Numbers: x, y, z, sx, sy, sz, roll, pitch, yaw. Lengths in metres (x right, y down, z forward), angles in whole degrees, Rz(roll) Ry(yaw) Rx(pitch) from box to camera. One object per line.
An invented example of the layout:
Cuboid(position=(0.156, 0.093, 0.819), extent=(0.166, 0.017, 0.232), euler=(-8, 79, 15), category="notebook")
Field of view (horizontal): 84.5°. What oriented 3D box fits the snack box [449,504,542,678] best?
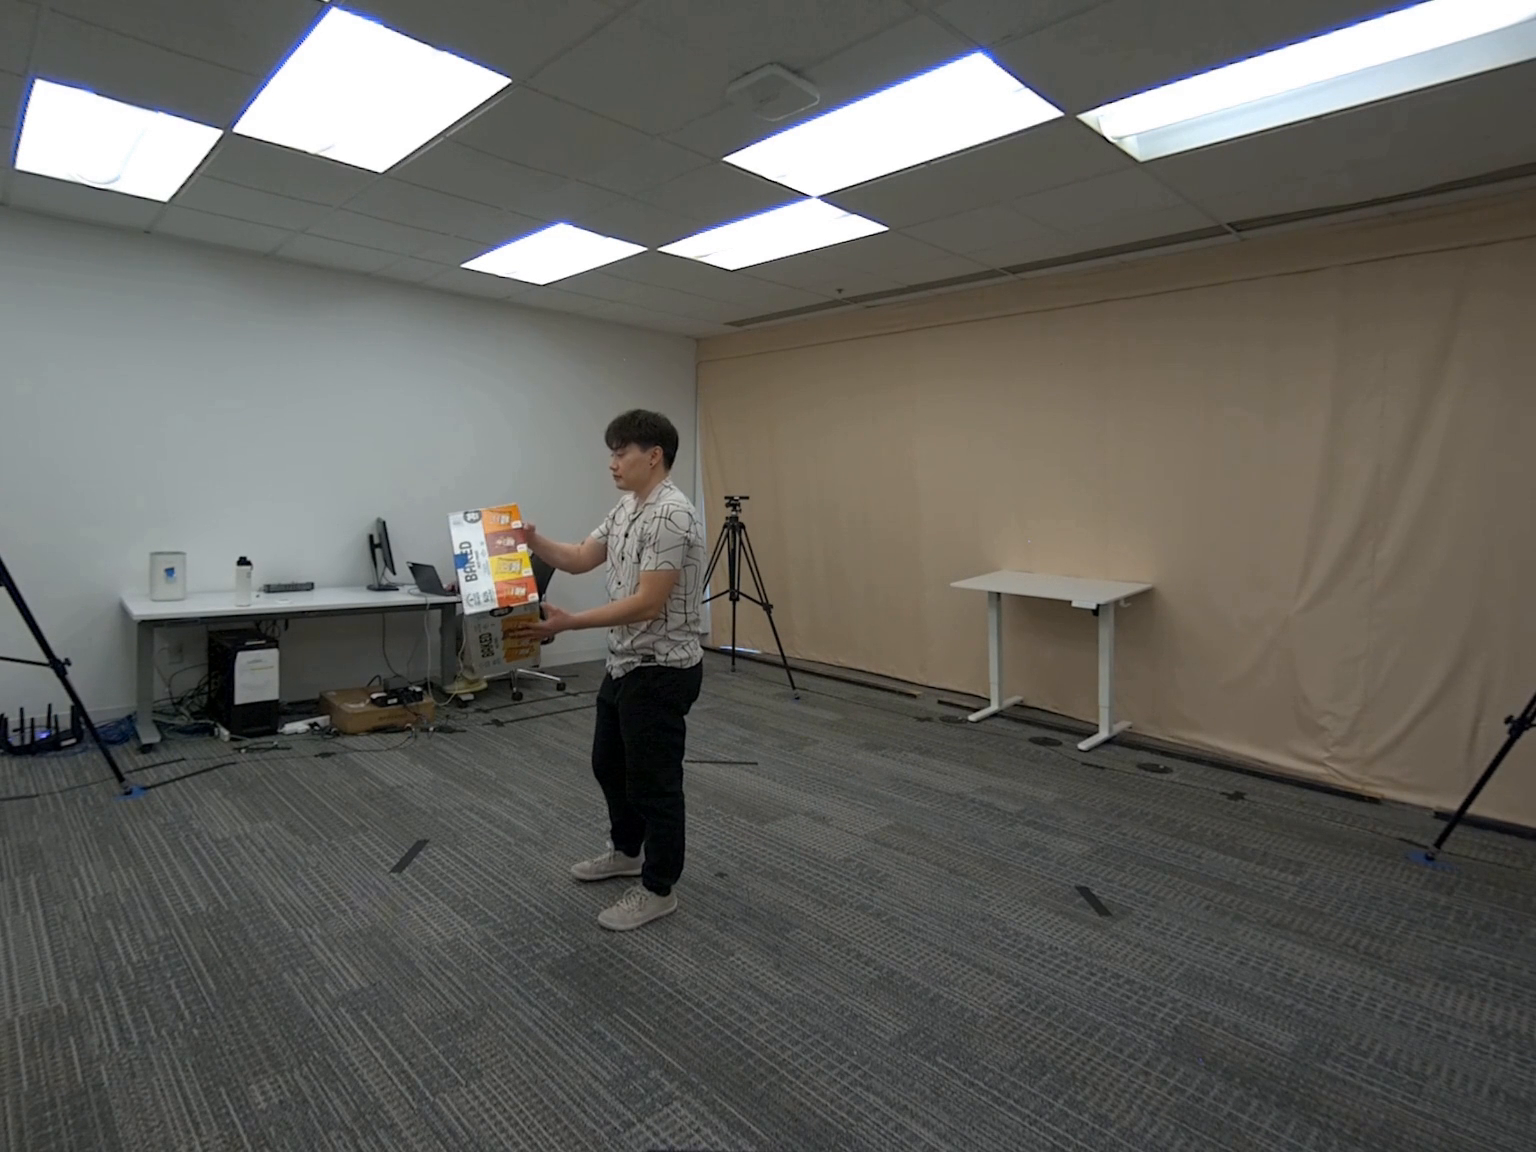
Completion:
Cuboid(position=(-0.824, 0.051, 2.547), extent=(0.203, 0.349, 0.400), euler=(-9, -30, -19), category="snack box")
